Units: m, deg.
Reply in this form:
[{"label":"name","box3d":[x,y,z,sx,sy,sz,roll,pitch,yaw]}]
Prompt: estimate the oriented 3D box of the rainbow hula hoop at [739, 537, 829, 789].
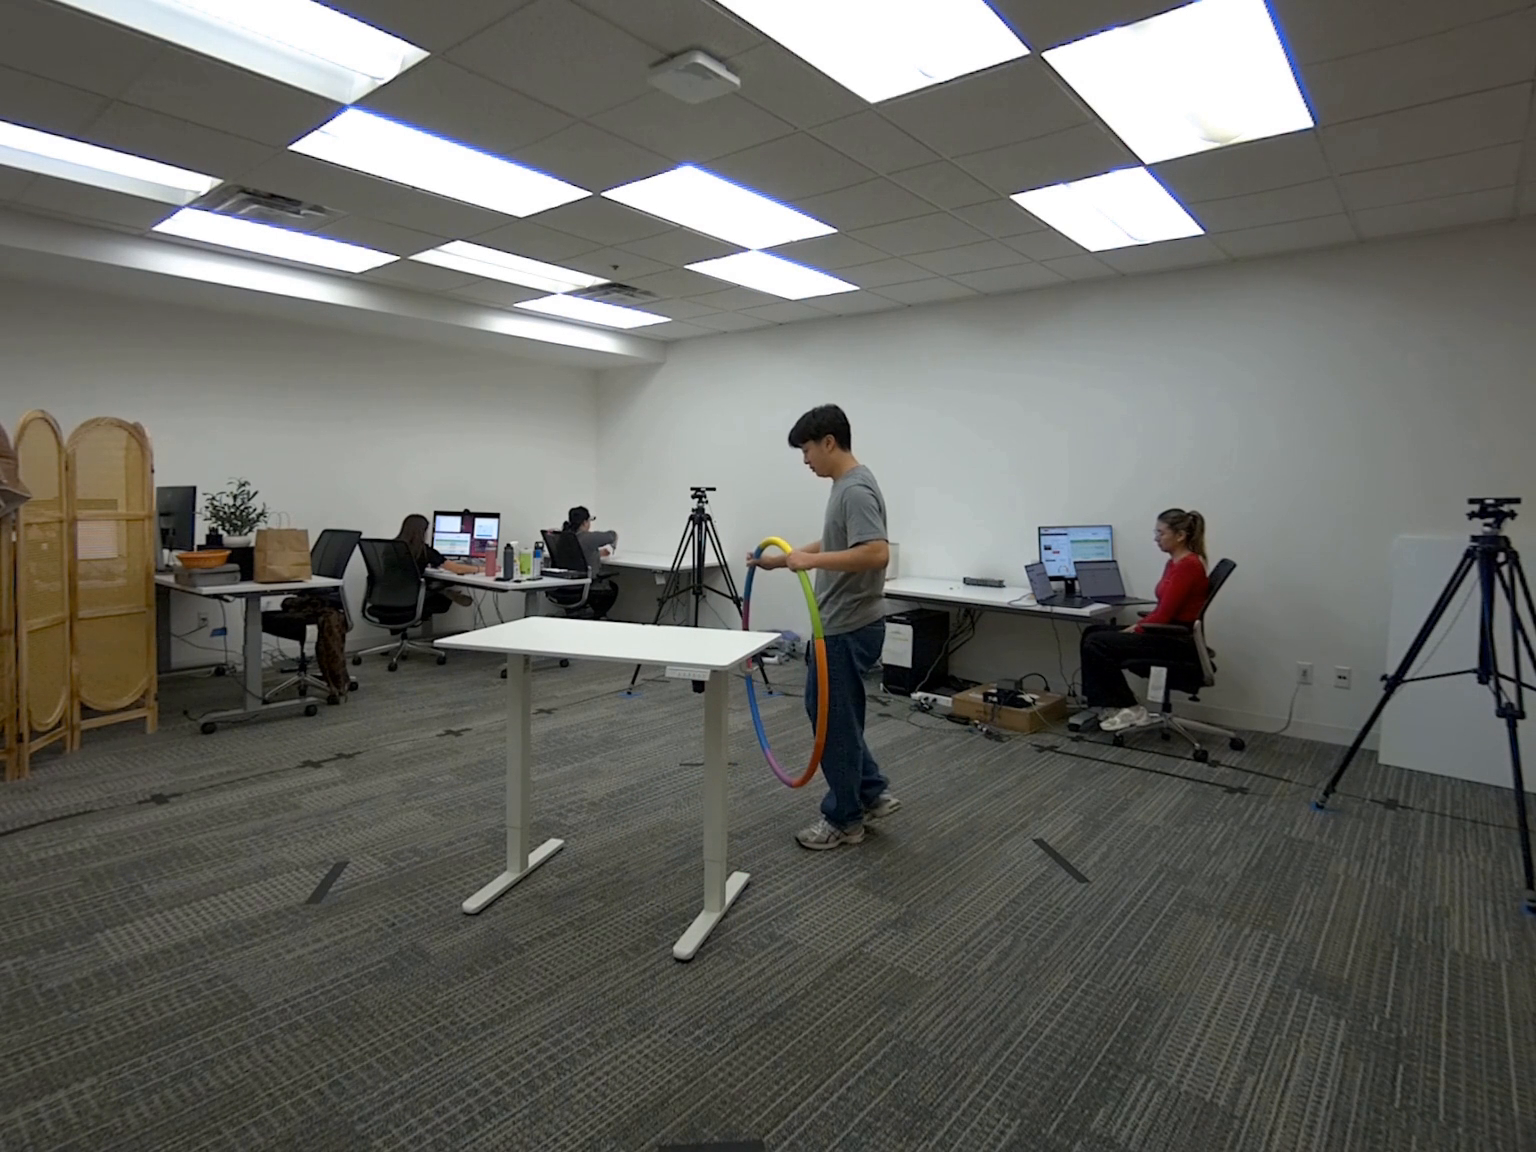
[{"label":"rainbow hula hoop","box3d":[0.038,0.342,3.420,0.035,0.975,0.998,-1,4,-17]}]
